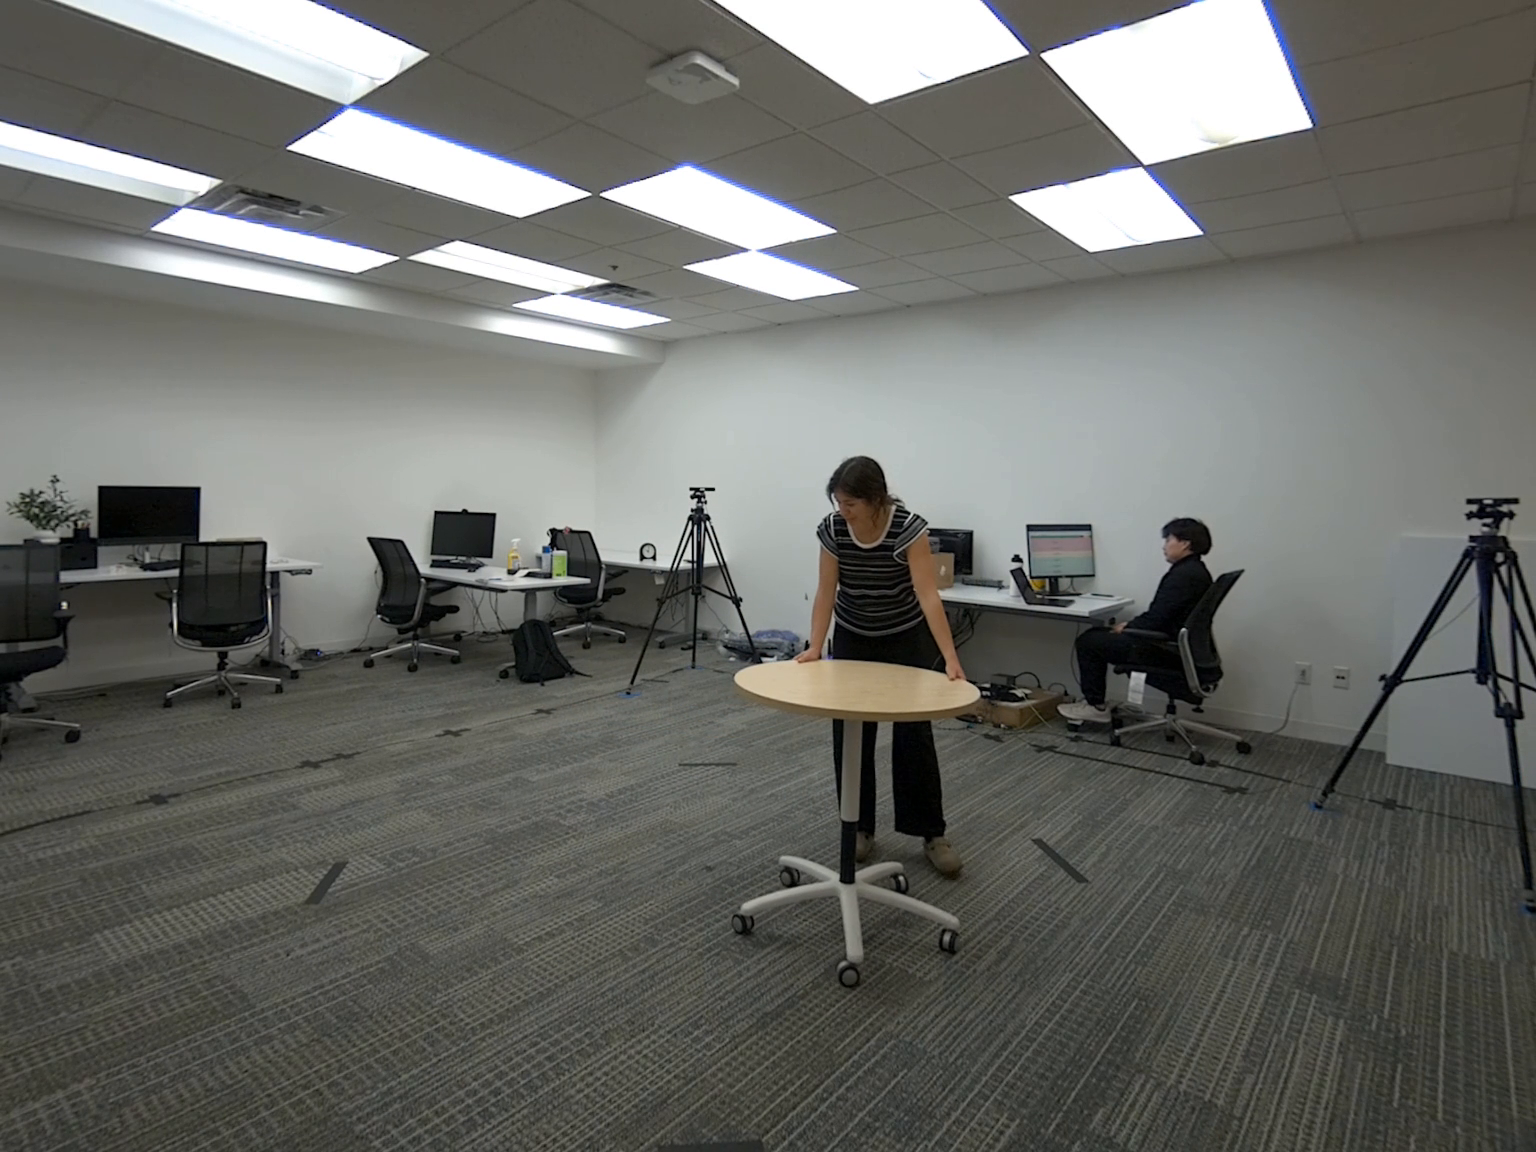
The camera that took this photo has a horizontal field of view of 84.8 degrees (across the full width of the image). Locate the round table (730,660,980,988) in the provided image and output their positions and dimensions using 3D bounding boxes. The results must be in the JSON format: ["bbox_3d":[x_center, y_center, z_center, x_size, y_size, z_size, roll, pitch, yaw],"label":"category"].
[{"bbox_3d":[0.245,0.726,2.714,0.763,0.792,0.767,2,3,-2],"label":"round table"}]
